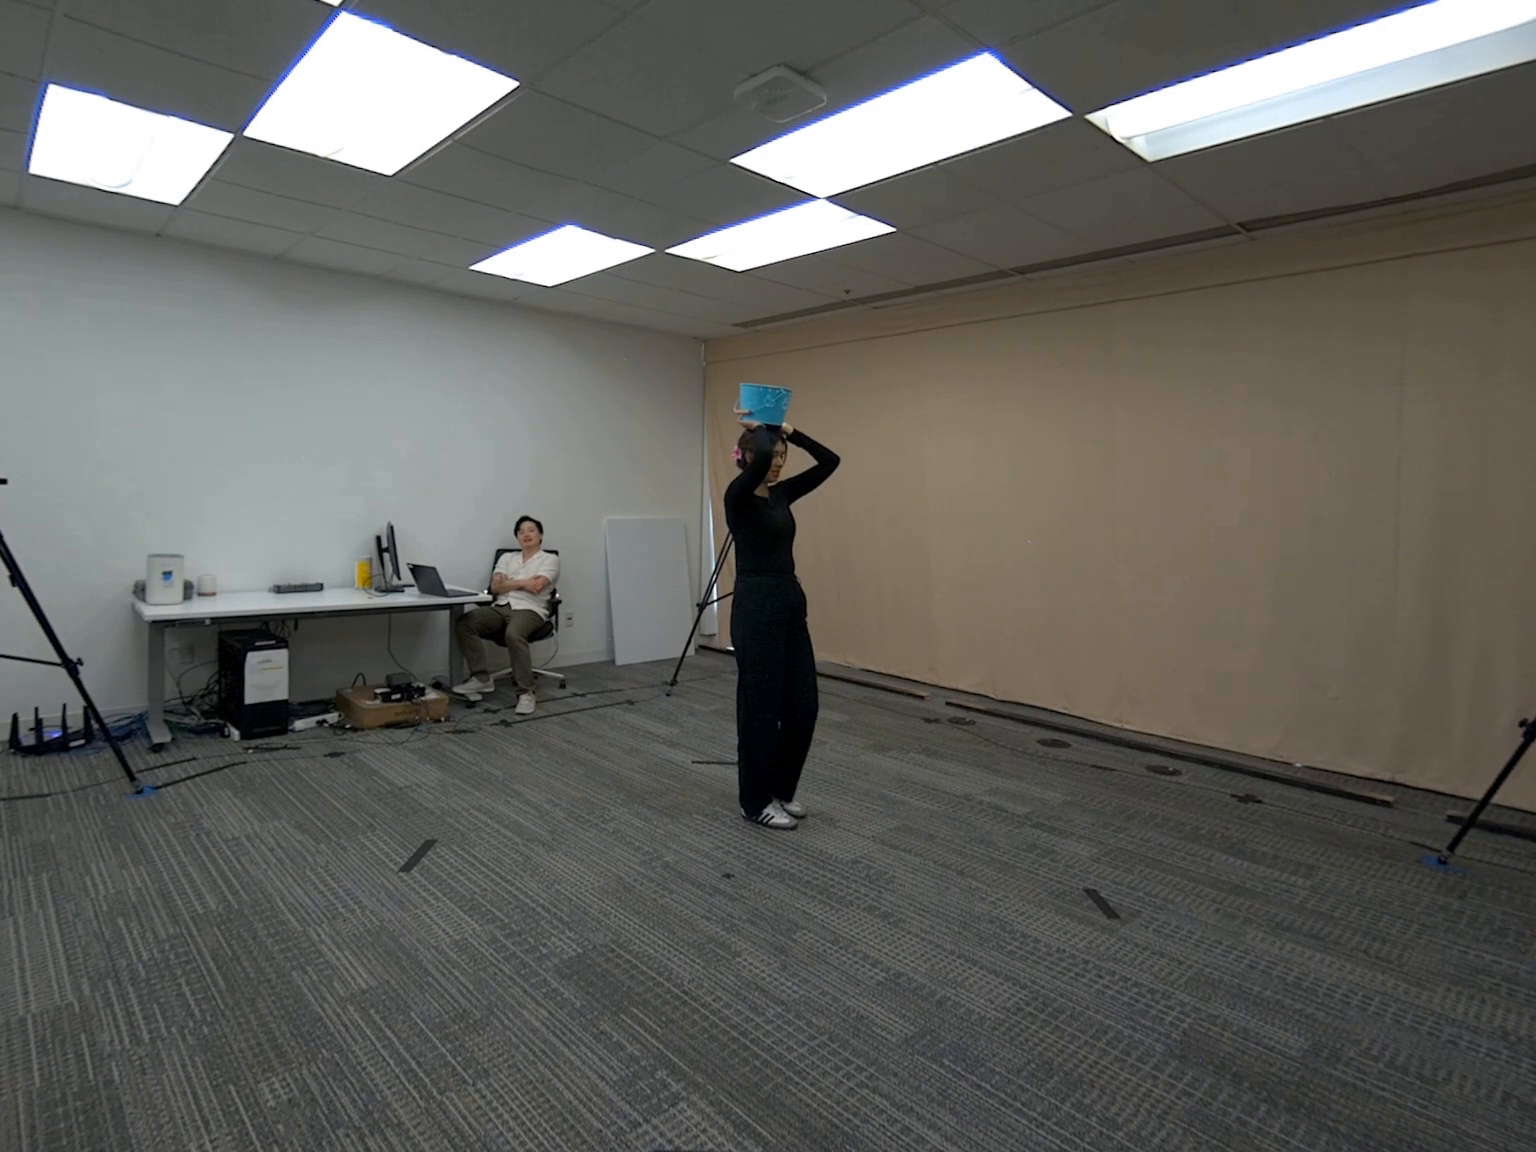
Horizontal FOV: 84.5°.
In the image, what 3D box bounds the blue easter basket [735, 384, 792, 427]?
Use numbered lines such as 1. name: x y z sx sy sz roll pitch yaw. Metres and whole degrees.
1. blue easter basket: -0.029 -0.722 3.565 0.243 0.155 0.245 8 7 -2
